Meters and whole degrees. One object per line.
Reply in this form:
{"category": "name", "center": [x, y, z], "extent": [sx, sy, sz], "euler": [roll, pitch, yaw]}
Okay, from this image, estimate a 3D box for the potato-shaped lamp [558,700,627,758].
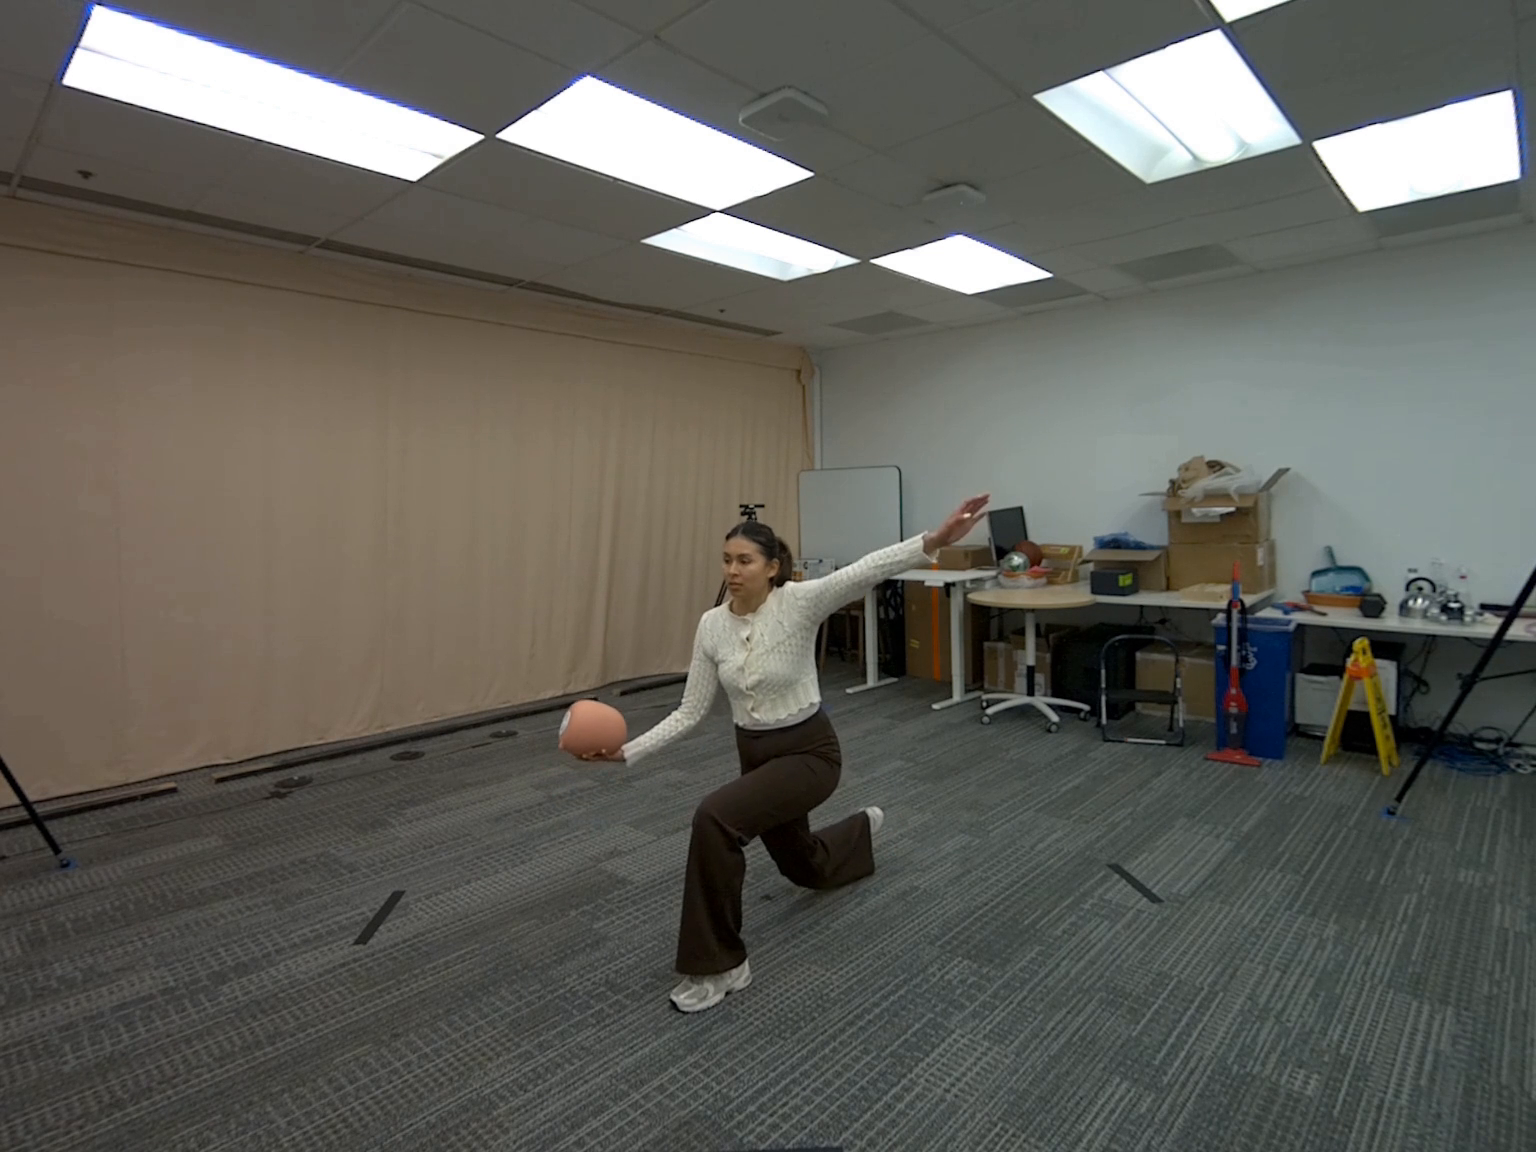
{"category": "potato-shaped lamp", "center": [-0.536, 0.480, 2.618], "extent": [0.194, 0.171, 0.168], "euler": [22, 12, -18]}
